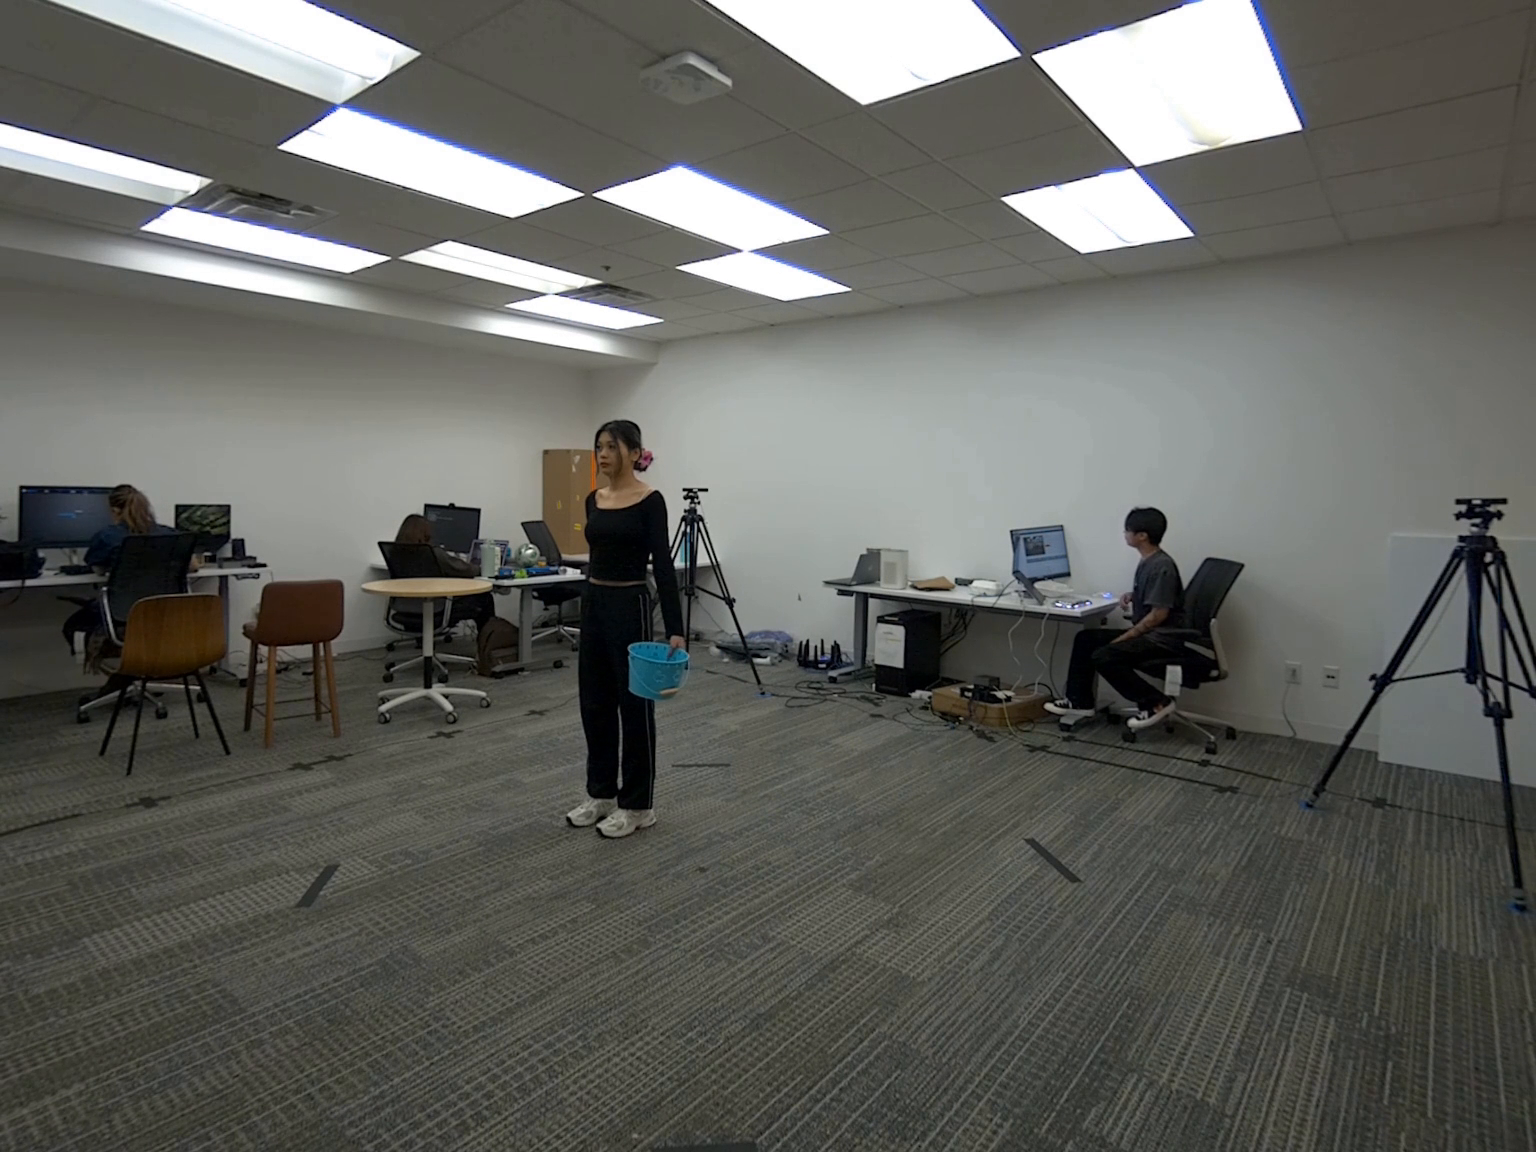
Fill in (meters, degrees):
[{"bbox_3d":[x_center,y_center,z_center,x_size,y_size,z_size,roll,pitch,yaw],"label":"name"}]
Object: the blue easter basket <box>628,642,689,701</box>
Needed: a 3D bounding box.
[{"bbox_3d":[-0.429,0.351,3.170,0.243,0.155,0.246,7,9,-3],"label":"blue easter basket"}]
